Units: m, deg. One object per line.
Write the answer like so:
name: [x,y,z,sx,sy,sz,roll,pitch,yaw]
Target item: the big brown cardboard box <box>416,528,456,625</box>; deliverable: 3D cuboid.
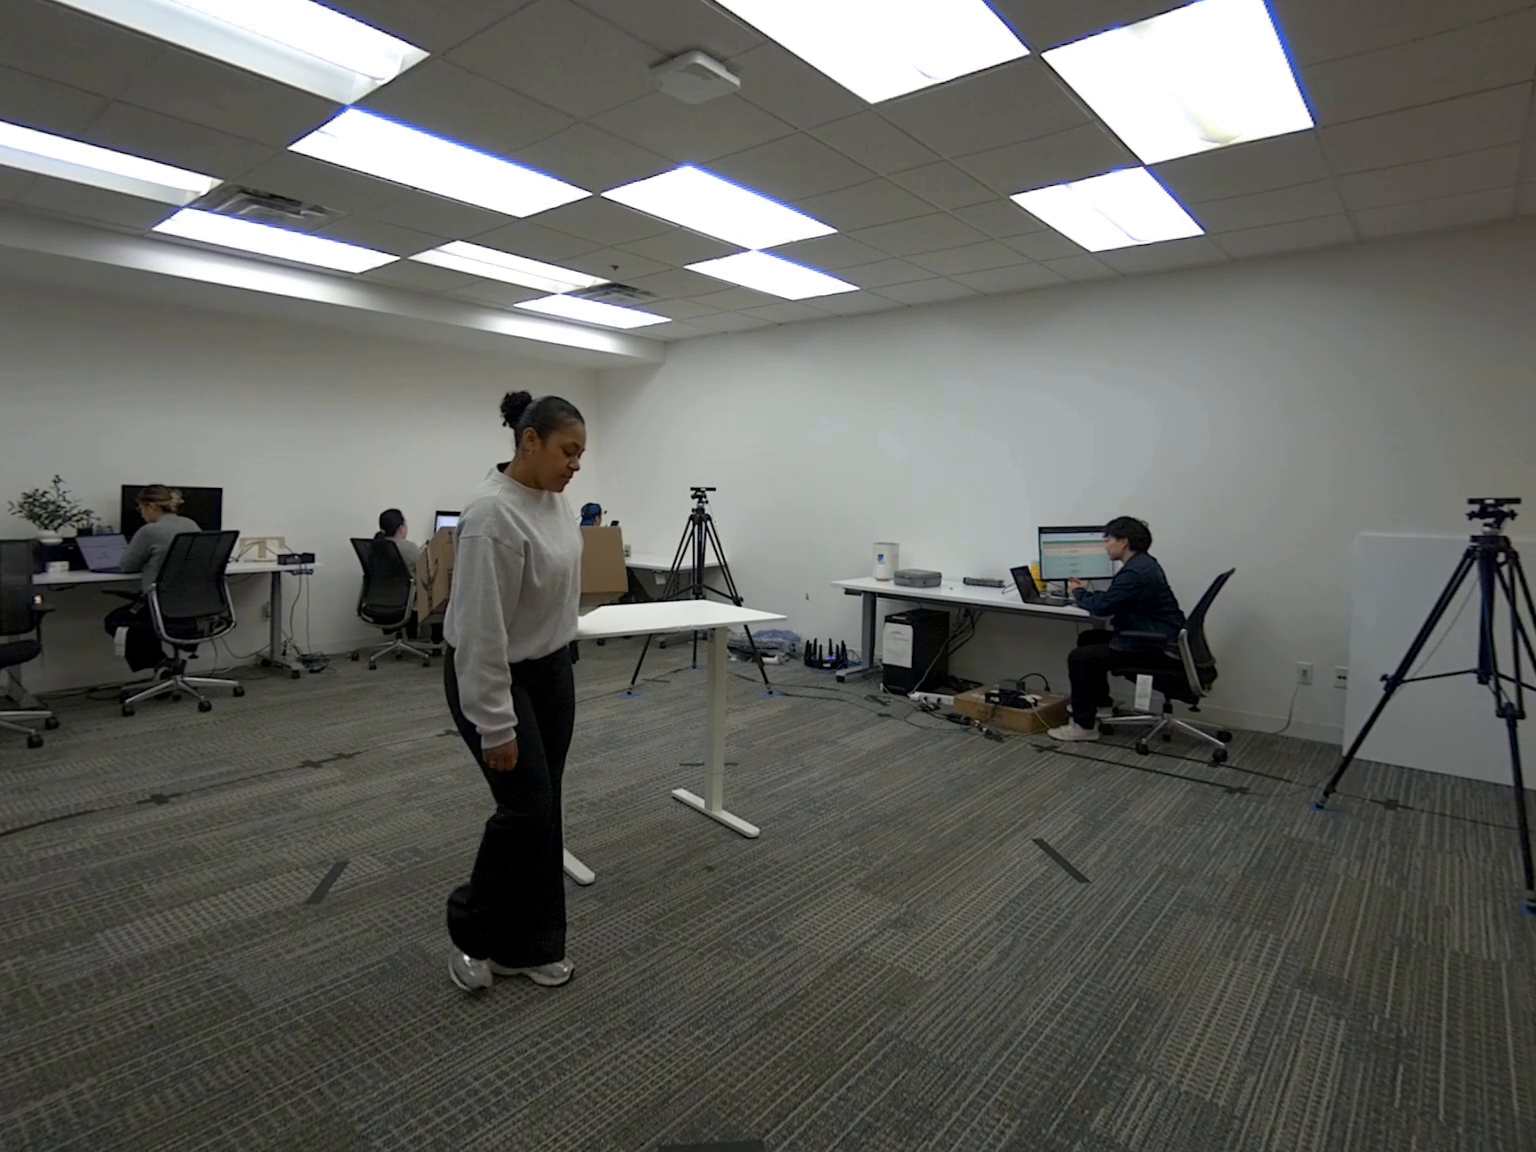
big brown cardboard box: [-0.807,0.000,2.735,0.573,0.236,0.423,-2,-13,-30]
